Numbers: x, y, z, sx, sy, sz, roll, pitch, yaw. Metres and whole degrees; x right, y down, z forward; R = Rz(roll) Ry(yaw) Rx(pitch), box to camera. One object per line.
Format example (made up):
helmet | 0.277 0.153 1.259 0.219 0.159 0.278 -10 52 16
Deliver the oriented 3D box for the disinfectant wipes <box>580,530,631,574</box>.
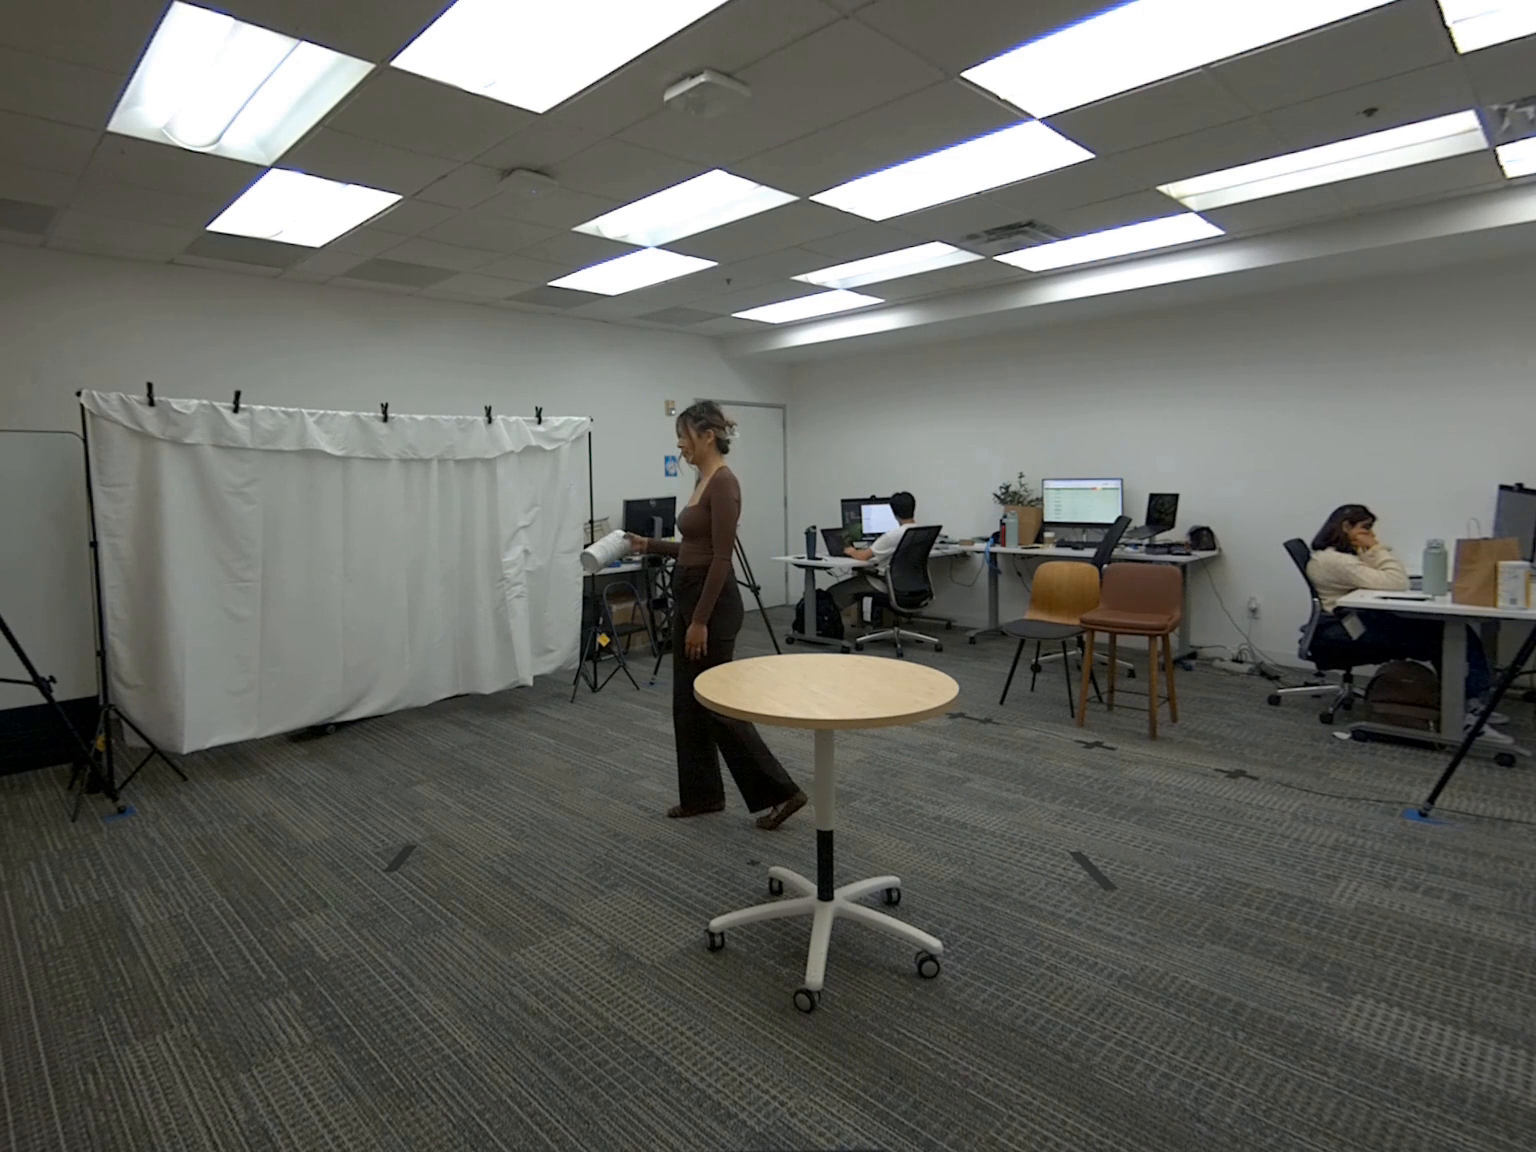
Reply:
disinfectant wipes | -0.678 -0.106 3.601 0.121 0.115 0.216 2 30 36
